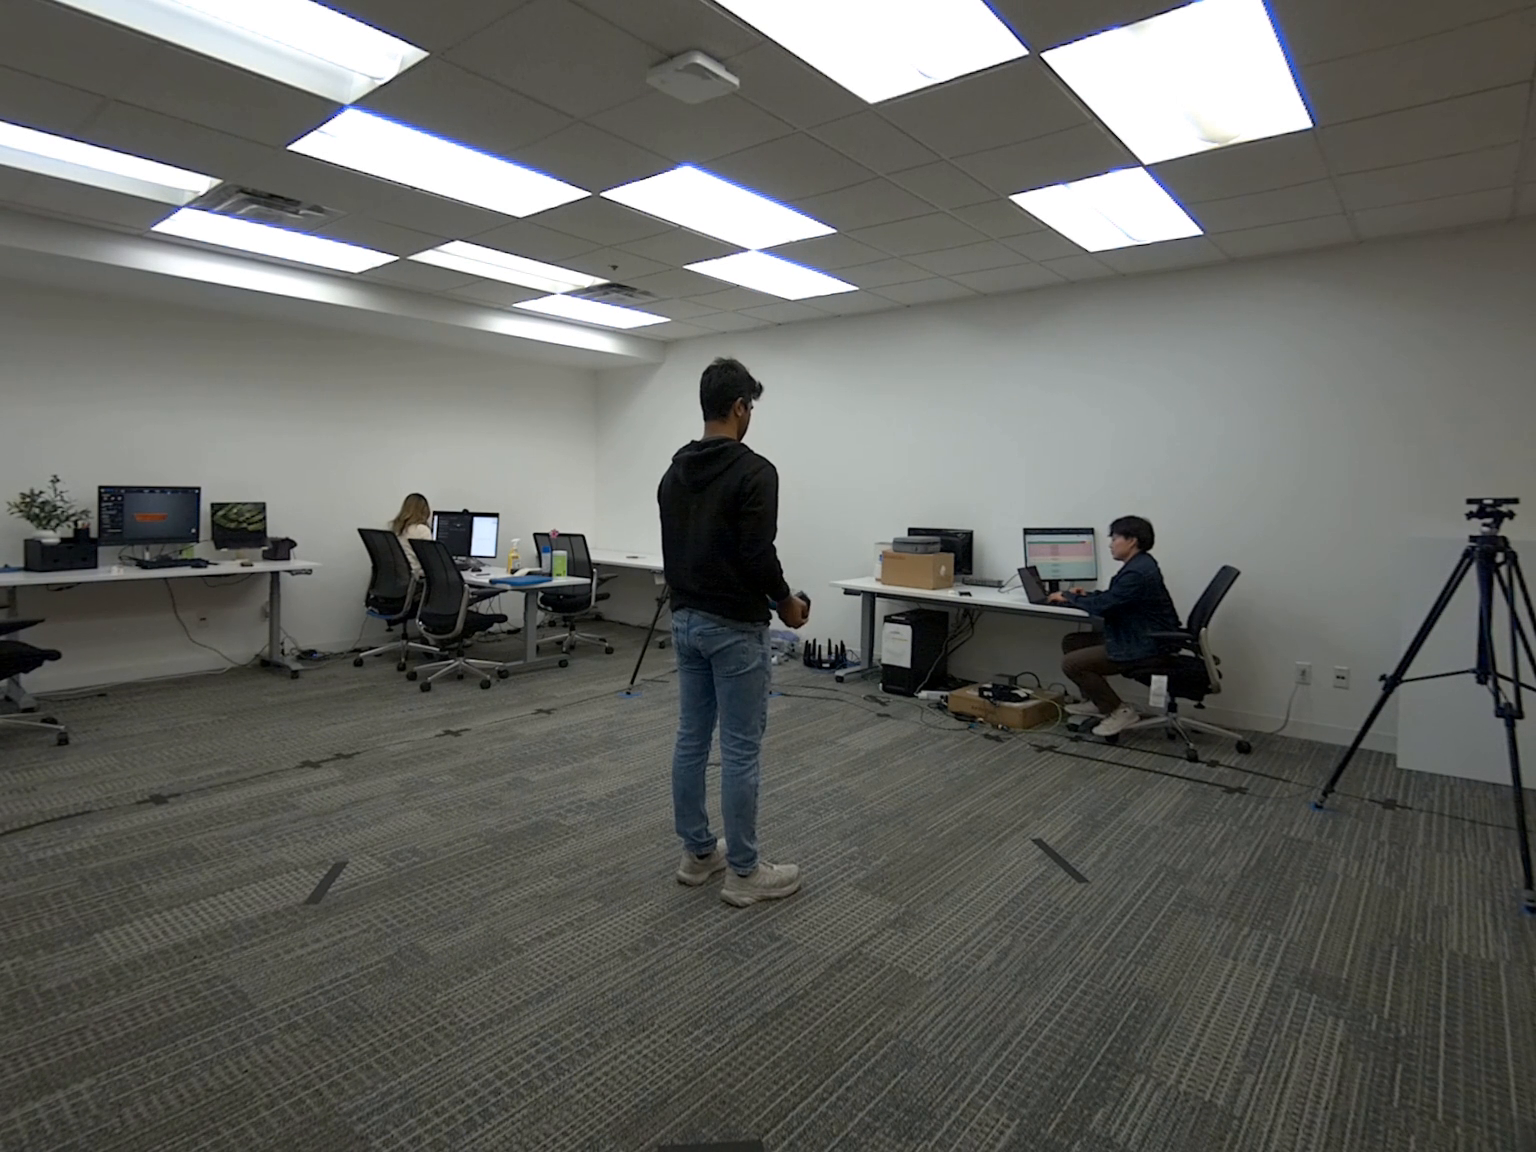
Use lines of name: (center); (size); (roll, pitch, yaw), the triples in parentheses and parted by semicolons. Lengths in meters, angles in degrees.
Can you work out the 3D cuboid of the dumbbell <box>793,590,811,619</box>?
dumbbell: (0.008, 0.086, 3.128); (0.105, 0.123, 0.304); (6, 2, -38)
